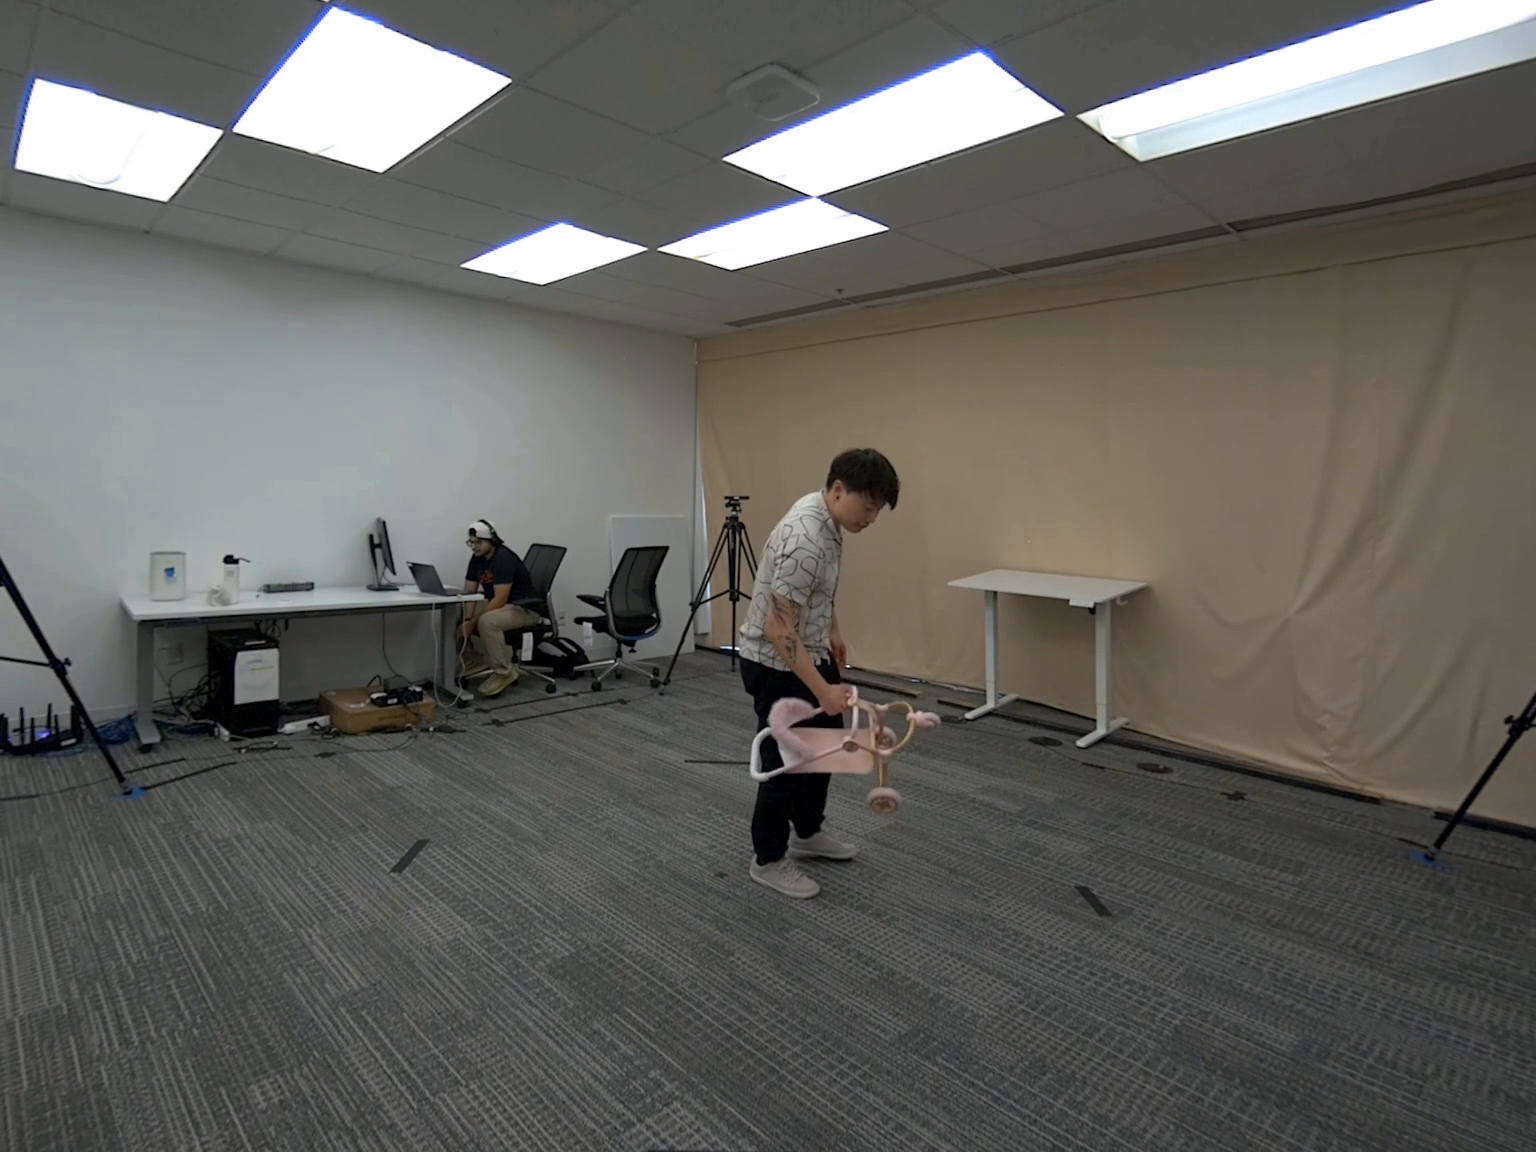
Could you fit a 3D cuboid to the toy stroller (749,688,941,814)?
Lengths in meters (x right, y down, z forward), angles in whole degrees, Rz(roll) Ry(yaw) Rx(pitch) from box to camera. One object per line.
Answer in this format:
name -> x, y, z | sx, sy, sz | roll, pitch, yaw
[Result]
toy stroller -> 0.224, 0.504, 2.586 | 0.535, 0.335, 0.286 | 10, 39, 1
